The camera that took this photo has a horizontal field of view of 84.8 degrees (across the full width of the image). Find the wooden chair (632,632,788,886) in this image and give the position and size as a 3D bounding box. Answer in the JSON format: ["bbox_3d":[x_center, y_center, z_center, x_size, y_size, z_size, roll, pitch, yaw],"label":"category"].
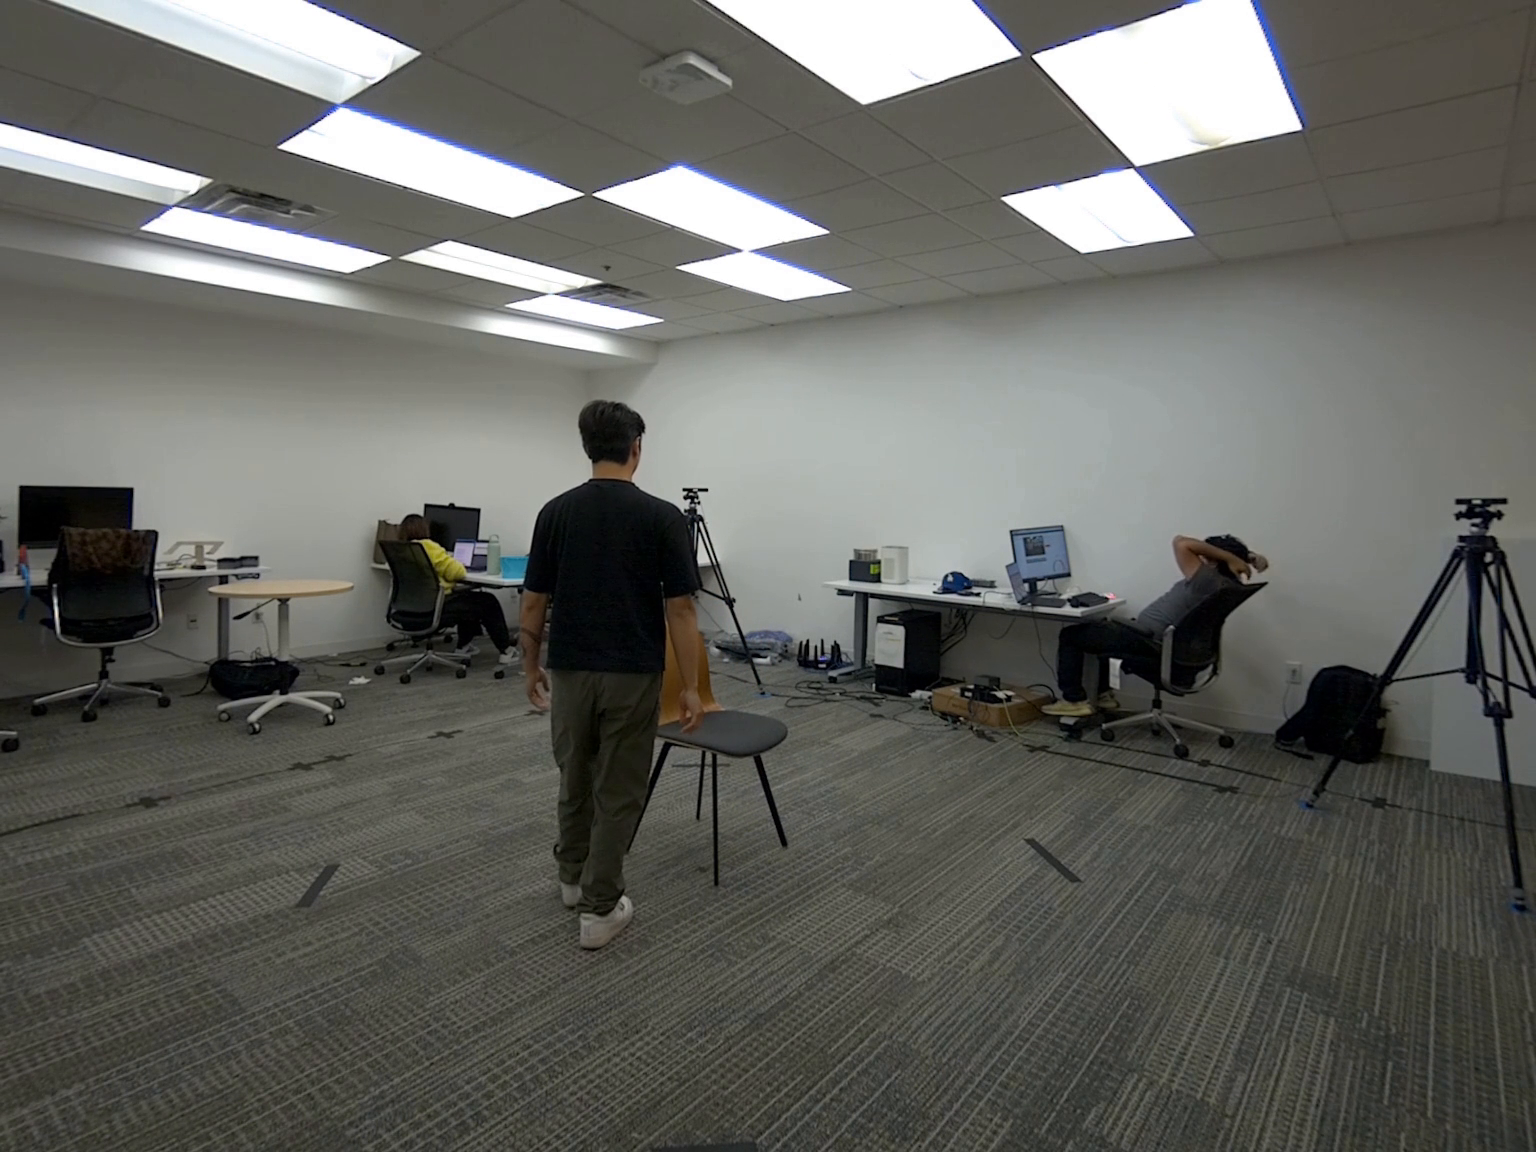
[{"bbox_3d":[-0.226,0.624,3.254,0.539,0.878,0.464,-2,0,36],"label":"wooden chair"}]
